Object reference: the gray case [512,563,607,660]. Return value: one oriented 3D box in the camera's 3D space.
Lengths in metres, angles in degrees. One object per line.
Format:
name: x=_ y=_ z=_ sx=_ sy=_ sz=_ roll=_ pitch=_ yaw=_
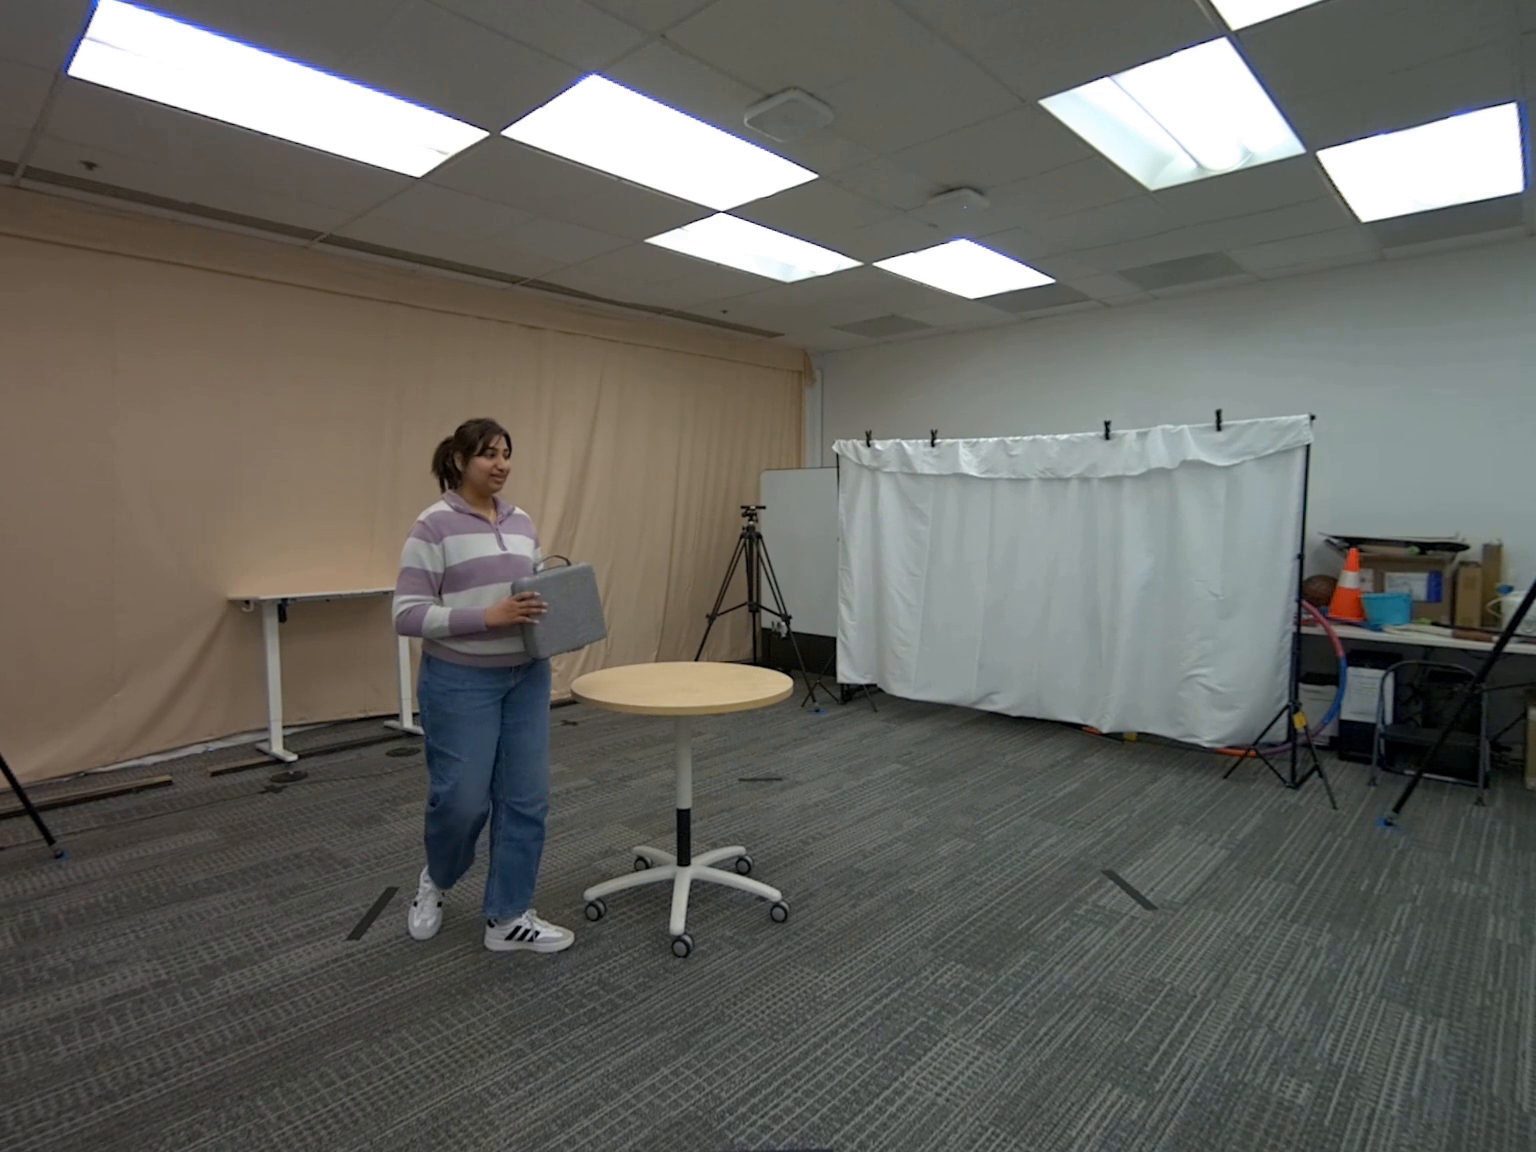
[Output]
gray case: x=-0.633 y=0.102 z=2.560 sx=0.251 sy=0.259 sz=0.107 roll=-17 pitch=11 yaw=-37
